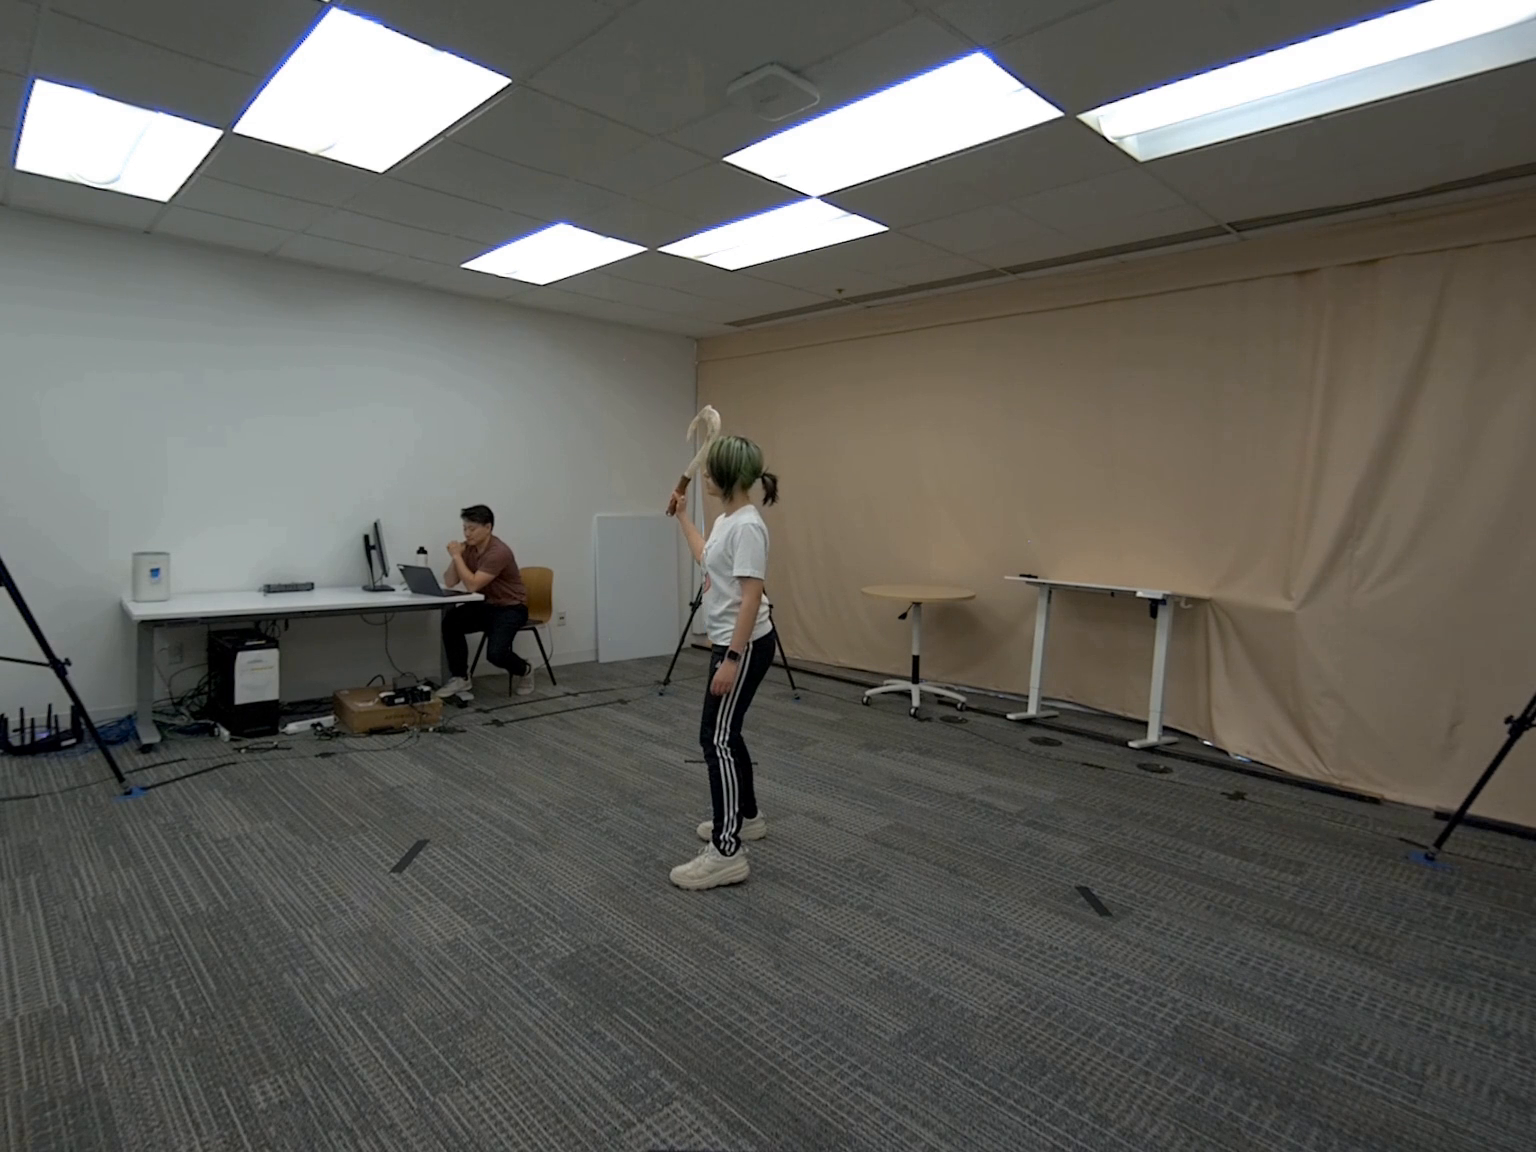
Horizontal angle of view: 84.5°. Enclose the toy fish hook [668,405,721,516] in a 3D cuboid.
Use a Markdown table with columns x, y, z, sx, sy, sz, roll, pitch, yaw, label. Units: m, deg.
| x | y | z | sx | sy | sz | roll | pitch | yaw | label |
| --- | --- | --- | --- | --- | --- | --- | --- | --- | --- |
| -0.370 | -0.492 | 3.665 | 0.047 | 0.504 | 0.232 | 16 | 22 | -34 | toy fish hook |
